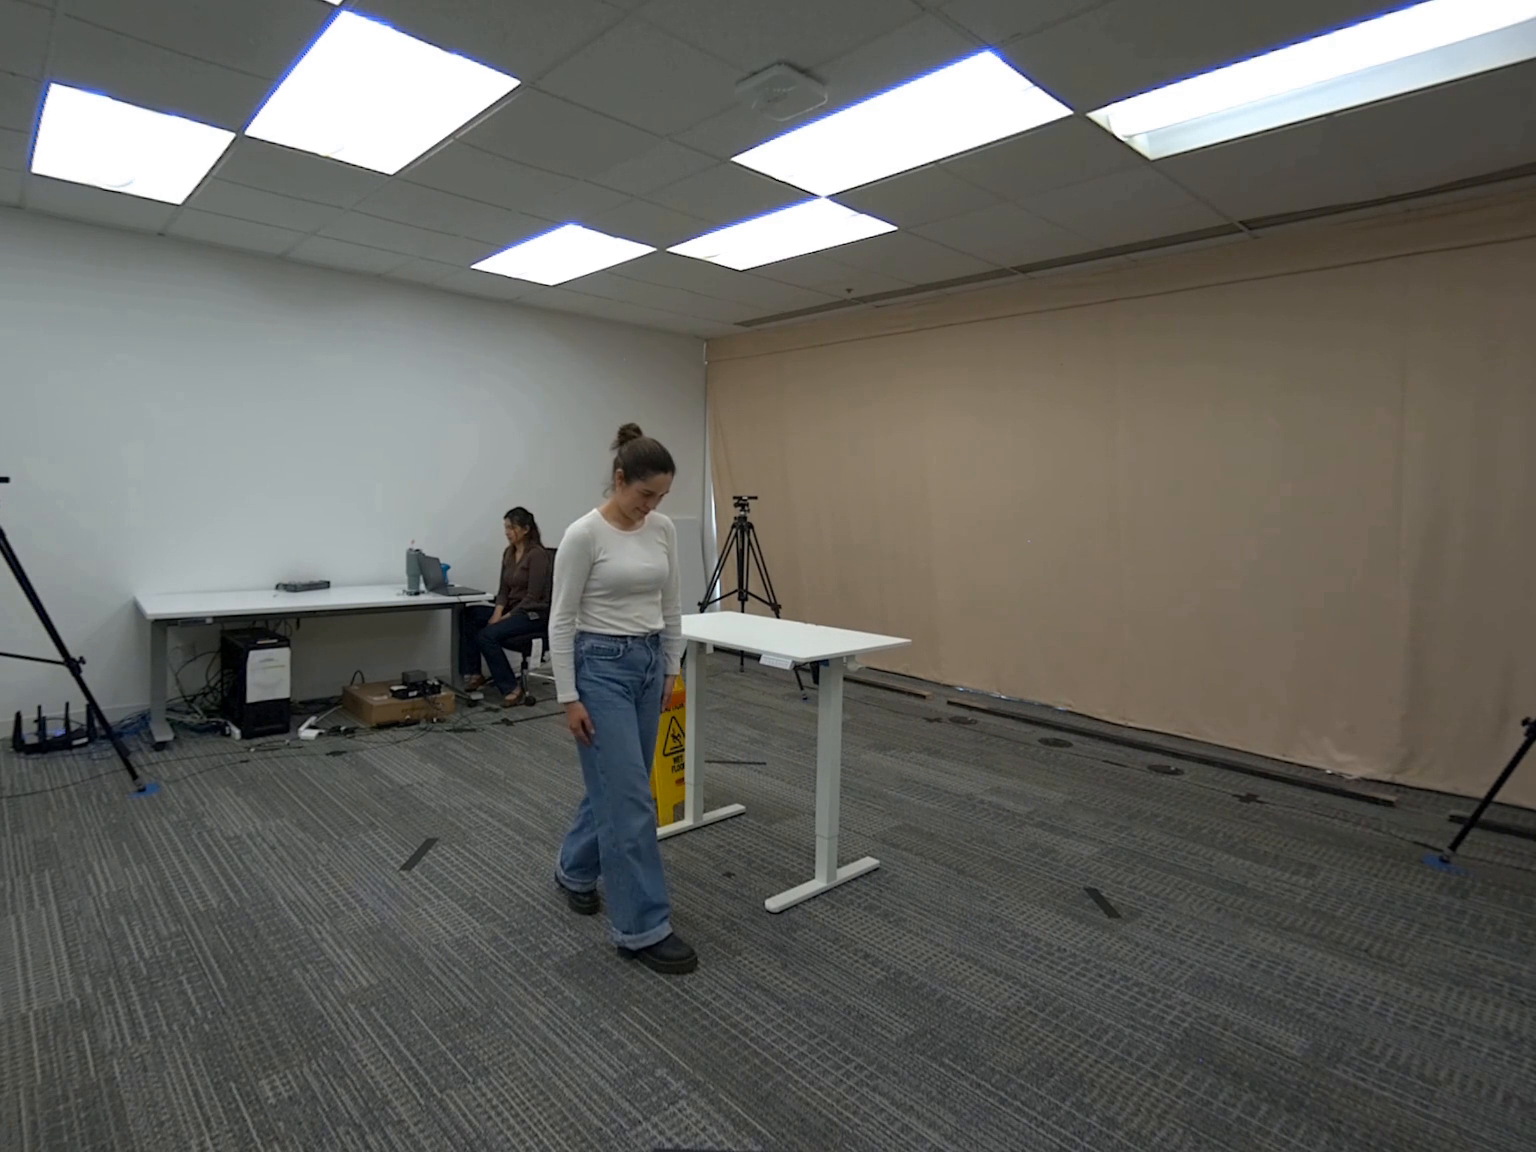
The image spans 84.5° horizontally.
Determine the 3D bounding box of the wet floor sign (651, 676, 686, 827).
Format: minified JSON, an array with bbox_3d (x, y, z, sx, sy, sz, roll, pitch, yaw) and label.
[{"bbox_3d":[-0.471,0.723,3.710,0.297,0.645,0.276,3,2,39],"label":"wet floor sign"}]
